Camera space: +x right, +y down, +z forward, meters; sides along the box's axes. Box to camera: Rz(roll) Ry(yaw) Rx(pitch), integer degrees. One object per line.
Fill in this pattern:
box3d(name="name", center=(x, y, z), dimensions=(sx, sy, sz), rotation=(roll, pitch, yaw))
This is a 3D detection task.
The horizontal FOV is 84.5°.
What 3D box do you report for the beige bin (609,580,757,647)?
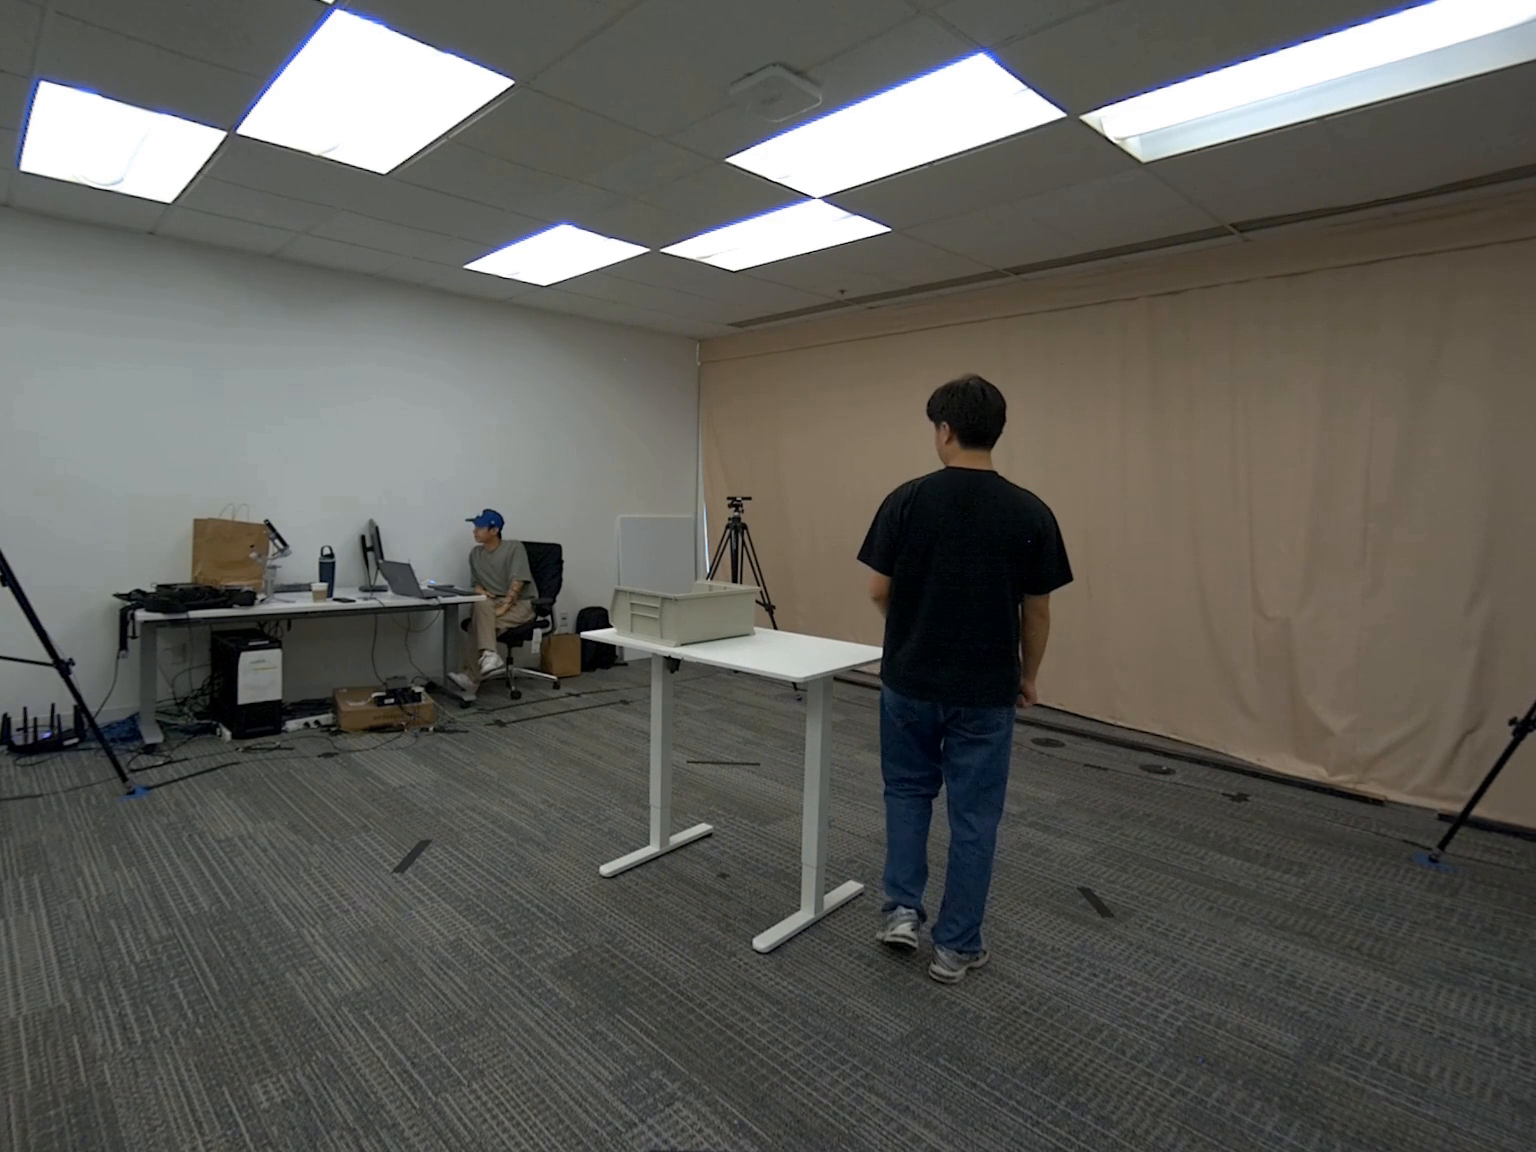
box3d(name="beige bin", center=(-0.313, 0.132, 3.109), dimensions=(0.387, 0.188, 0.413), rotation=(8, 8, 43))
